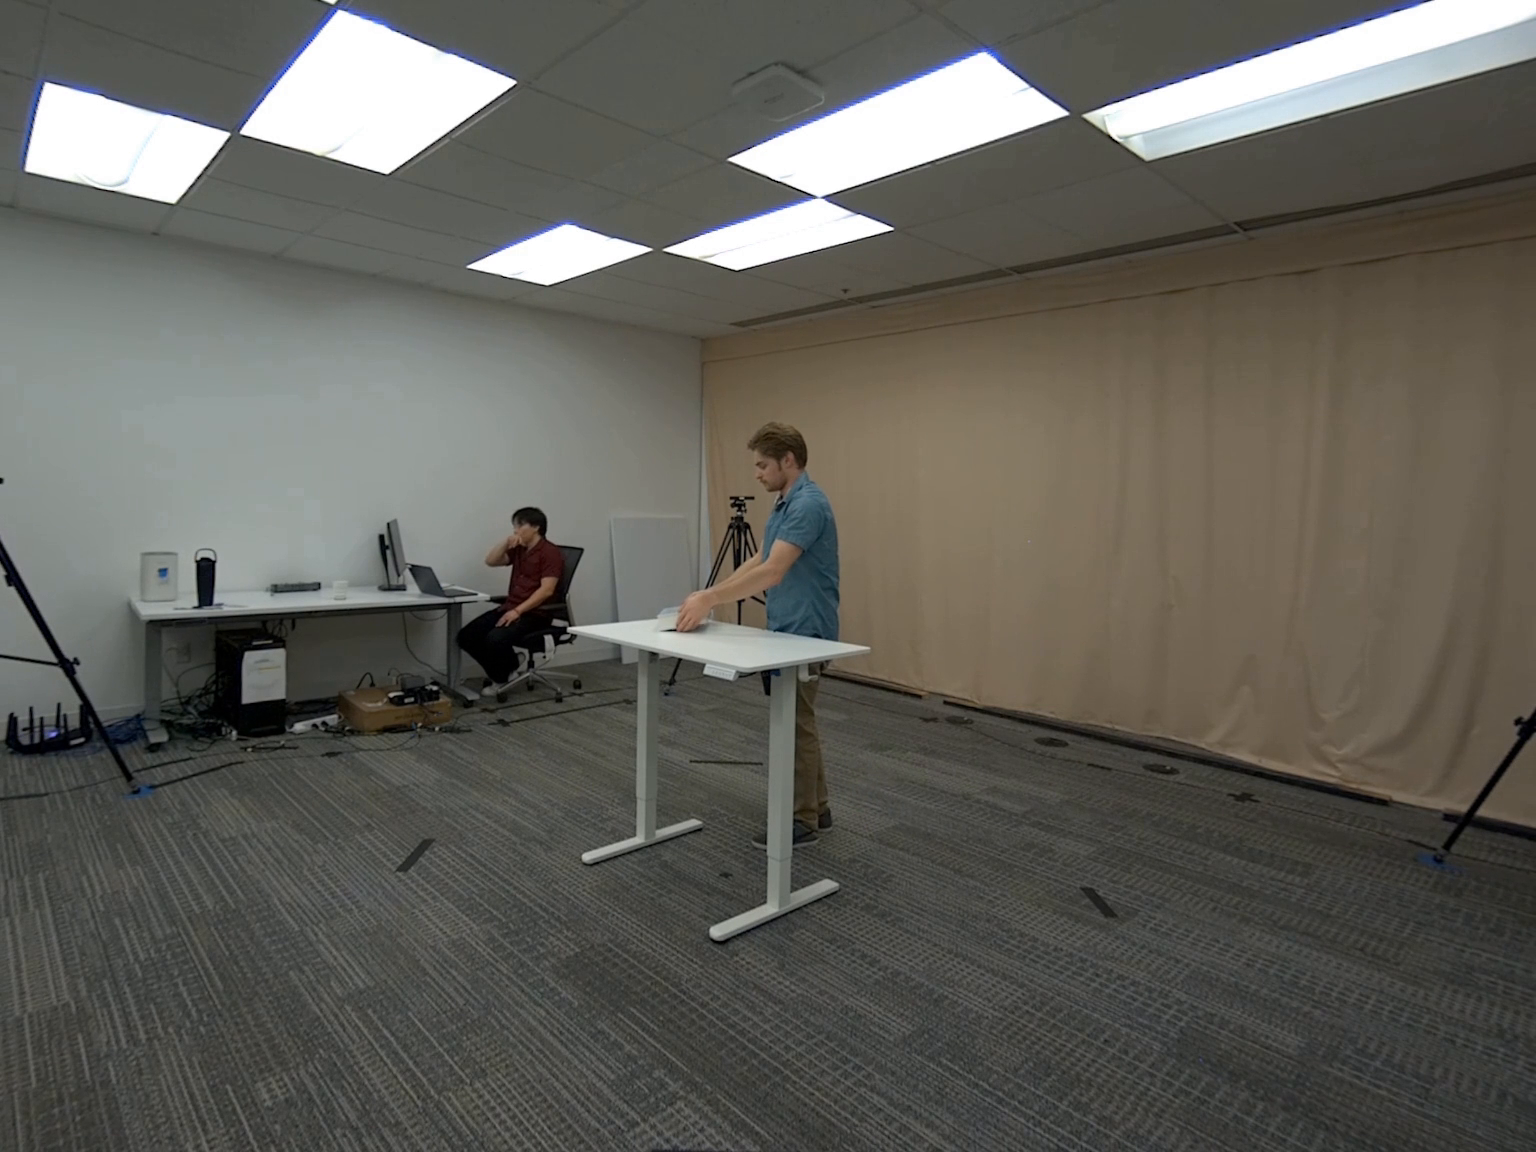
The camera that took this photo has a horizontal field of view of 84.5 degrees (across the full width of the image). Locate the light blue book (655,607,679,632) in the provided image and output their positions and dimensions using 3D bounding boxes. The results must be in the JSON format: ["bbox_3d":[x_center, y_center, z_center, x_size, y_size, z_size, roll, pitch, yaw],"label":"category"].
[{"bbox_3d":[-0.332,0.158,3.310,0.191,0.059,0.261,-8,5,1],"label":"light blue book"}]
